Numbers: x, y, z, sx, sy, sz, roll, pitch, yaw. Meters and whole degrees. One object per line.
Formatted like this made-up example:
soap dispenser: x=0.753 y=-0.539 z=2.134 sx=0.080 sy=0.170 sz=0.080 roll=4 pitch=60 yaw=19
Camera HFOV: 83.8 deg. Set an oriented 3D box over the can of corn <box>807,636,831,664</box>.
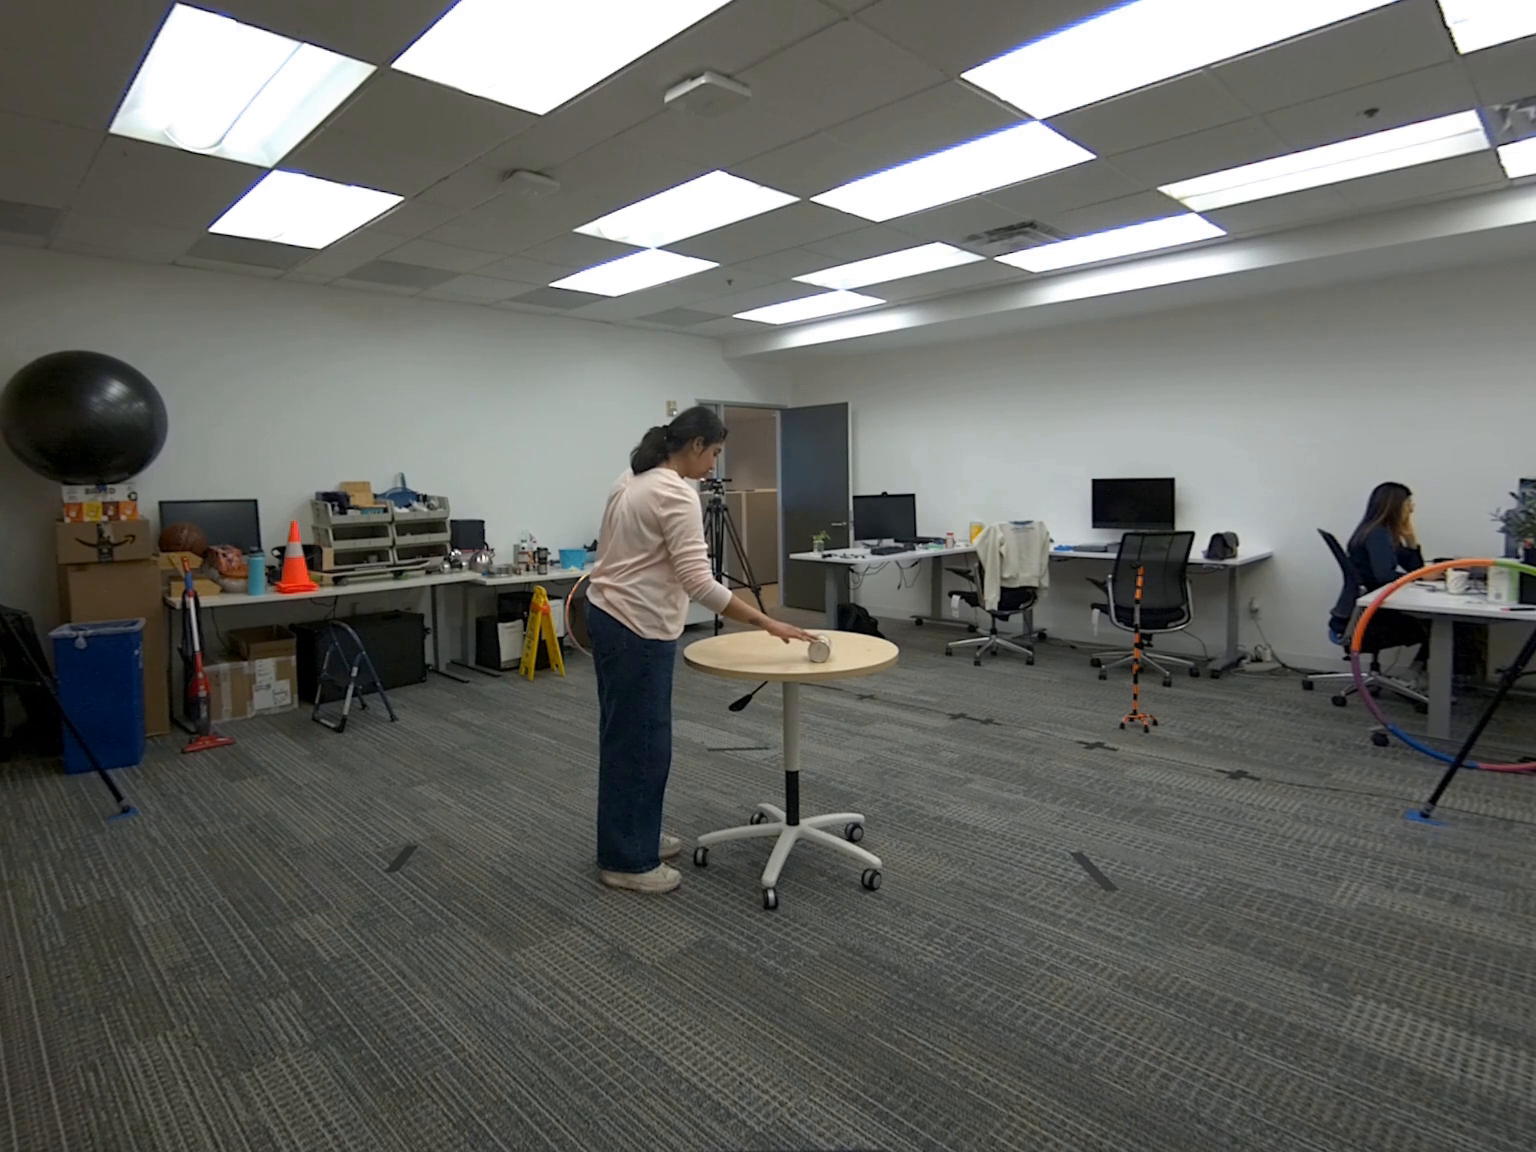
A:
can of corn: x=0.174 y=0.240 z=2.875 sx=0.074 sy=0.074 sz=0.111 roll=-1 pitch=6 yaw=0
